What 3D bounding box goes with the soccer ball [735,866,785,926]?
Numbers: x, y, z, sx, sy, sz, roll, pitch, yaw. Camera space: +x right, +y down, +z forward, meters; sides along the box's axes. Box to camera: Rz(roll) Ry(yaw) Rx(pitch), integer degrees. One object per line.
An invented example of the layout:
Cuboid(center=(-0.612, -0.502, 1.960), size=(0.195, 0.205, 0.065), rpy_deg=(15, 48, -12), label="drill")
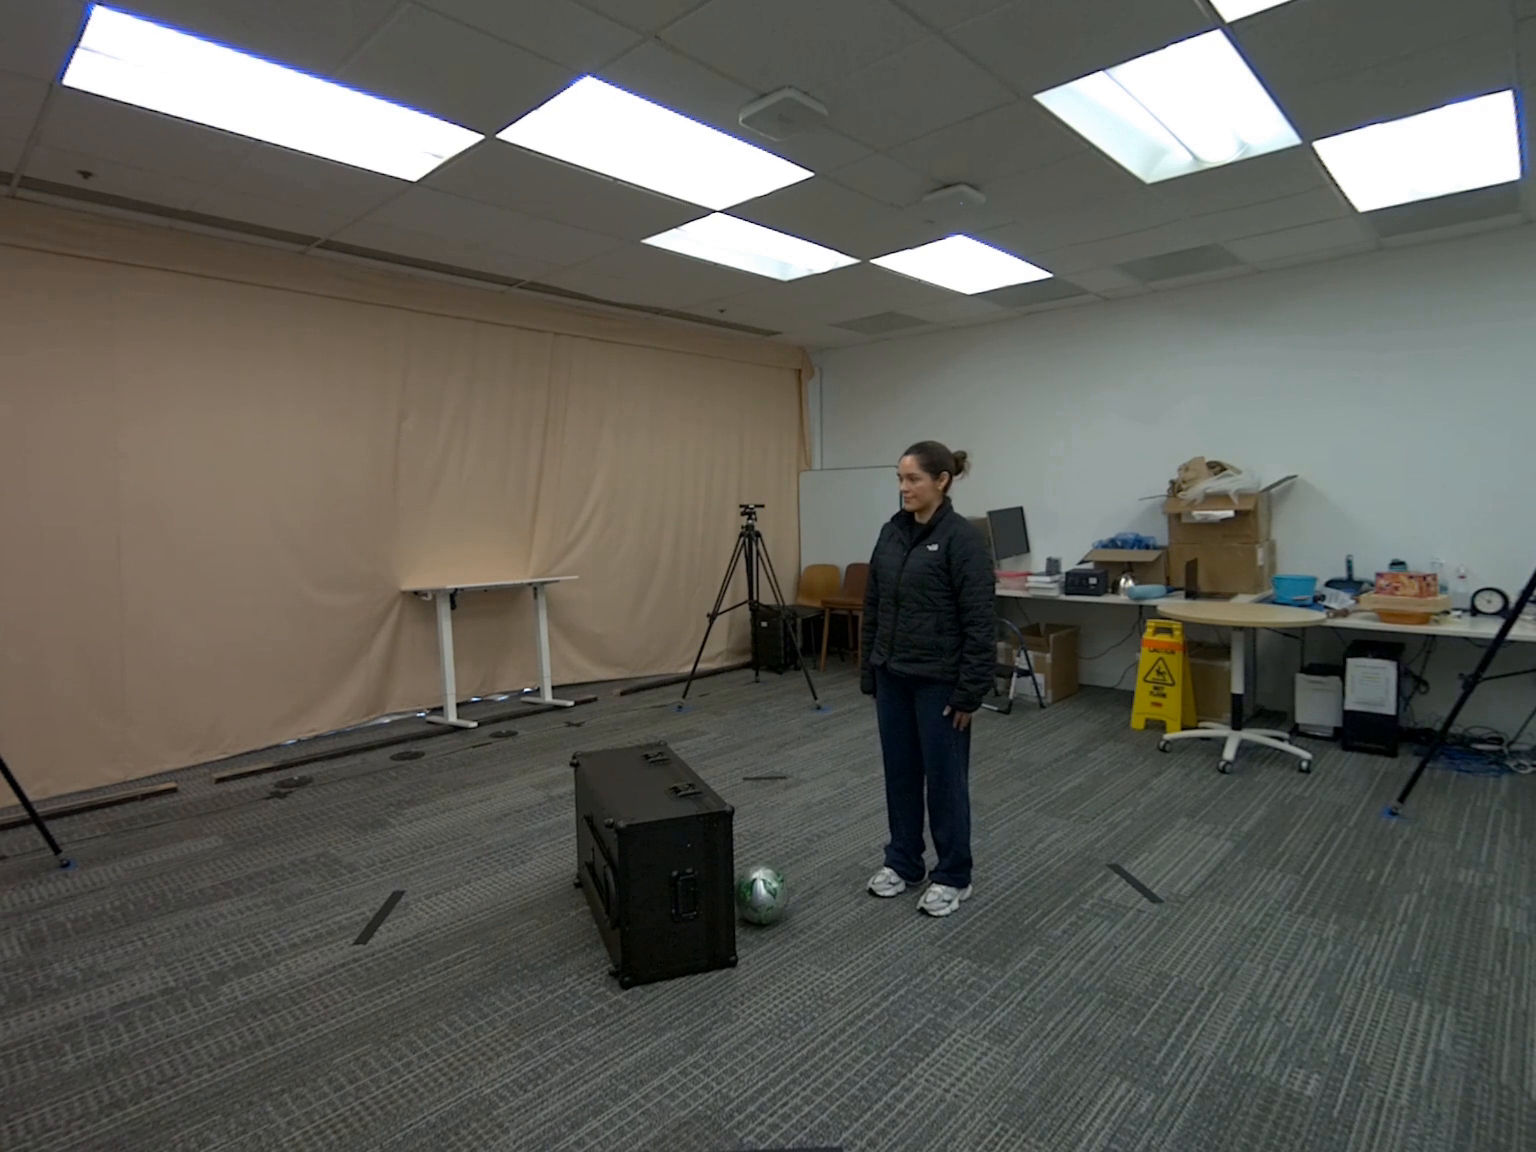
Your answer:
Cuboid(center=(-0.018, 1.067, 2.808), size=(0.187, 0.187, 0.188), rpy_deg=(-1, 4, -2), label="soccer ball")
